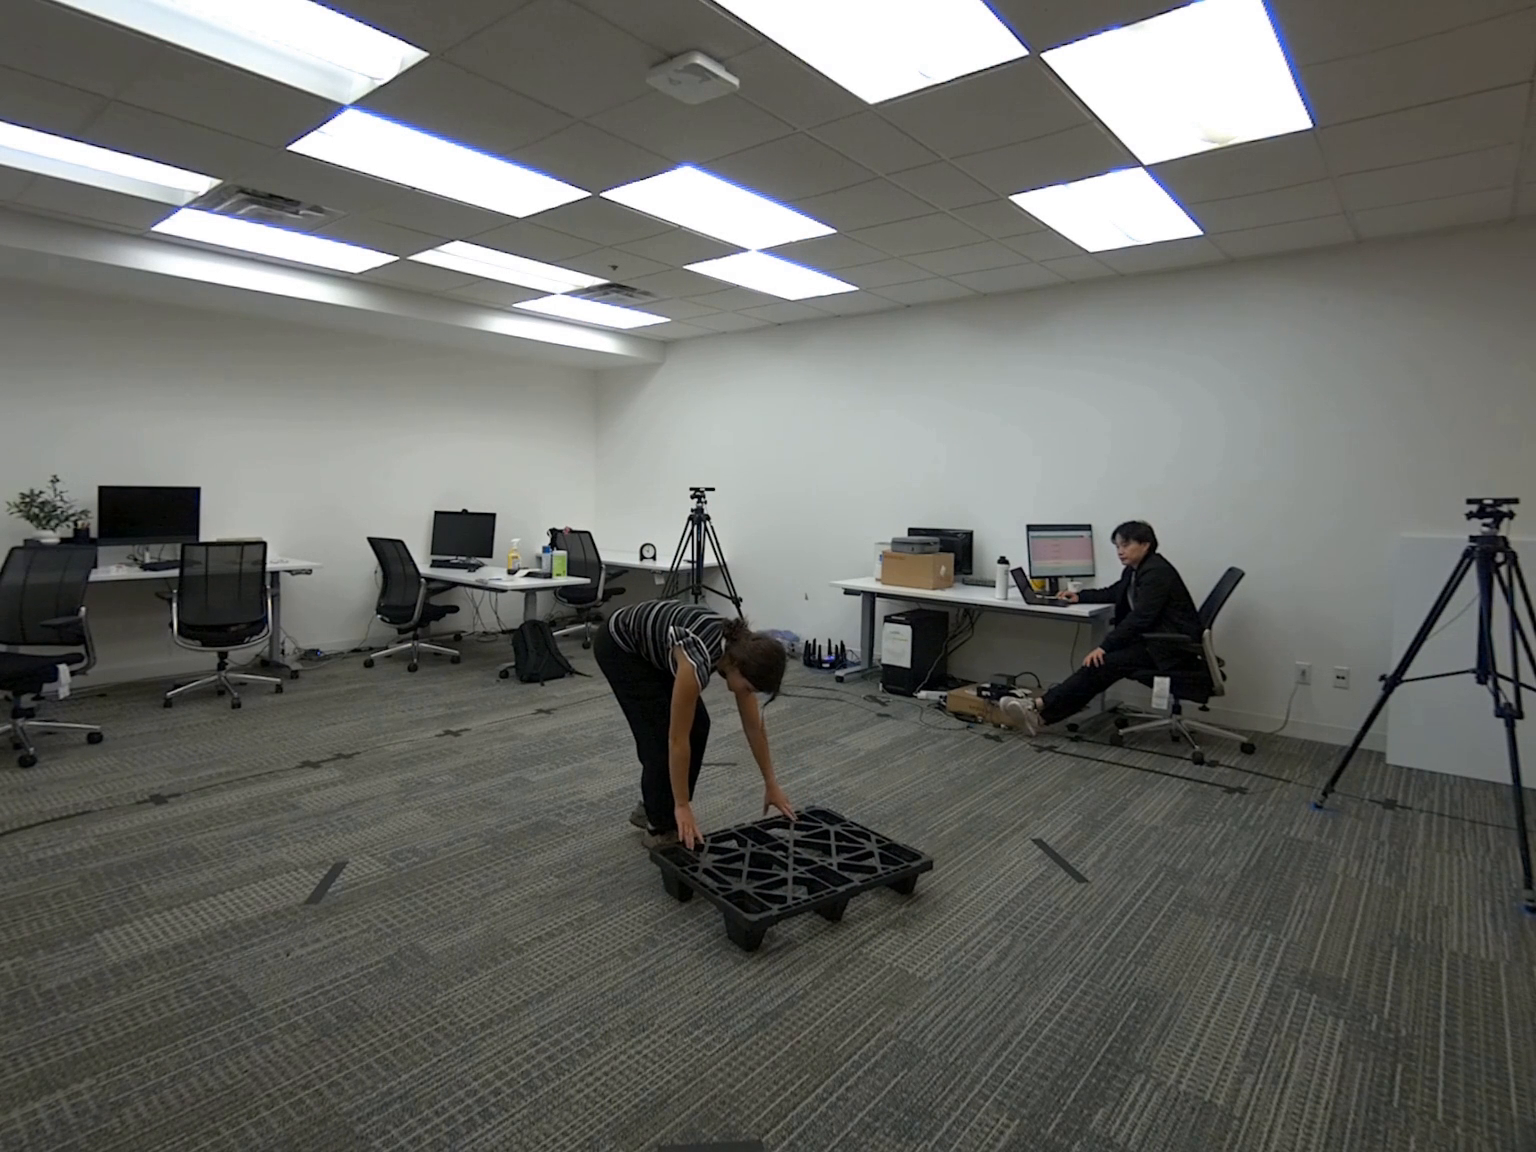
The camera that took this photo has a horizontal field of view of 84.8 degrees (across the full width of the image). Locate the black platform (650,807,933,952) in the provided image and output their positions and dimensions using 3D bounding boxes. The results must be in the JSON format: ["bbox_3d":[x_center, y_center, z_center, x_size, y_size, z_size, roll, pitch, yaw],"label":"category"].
[{"bbox_3d":[0.075,1.021,2.940,0.782,0.143,0.626,-3,8,-36],"label":"black platform"}]
